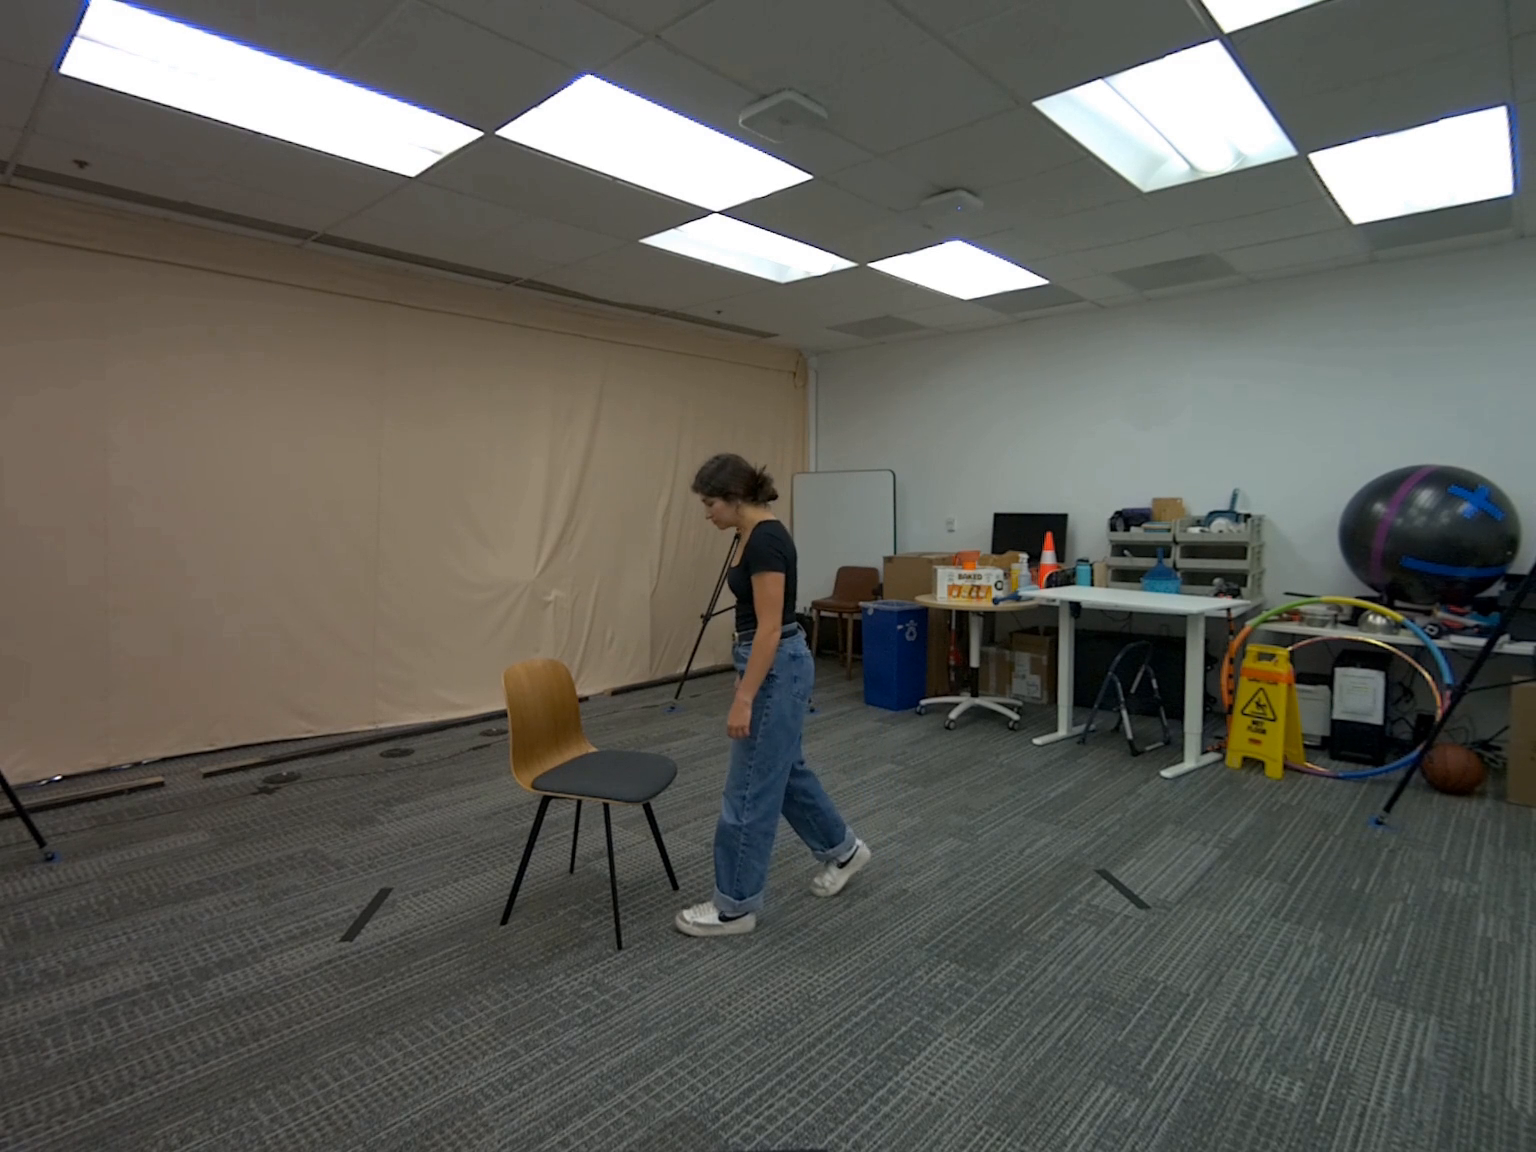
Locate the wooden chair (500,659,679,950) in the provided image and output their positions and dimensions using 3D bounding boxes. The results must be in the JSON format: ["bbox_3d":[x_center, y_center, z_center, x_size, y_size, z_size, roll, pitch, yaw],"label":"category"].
[{"bbox_3d":[-0.602,0.732,2.906,0.534,0.877,0.468,-4,1,21],"label":"wooden chair"}]
